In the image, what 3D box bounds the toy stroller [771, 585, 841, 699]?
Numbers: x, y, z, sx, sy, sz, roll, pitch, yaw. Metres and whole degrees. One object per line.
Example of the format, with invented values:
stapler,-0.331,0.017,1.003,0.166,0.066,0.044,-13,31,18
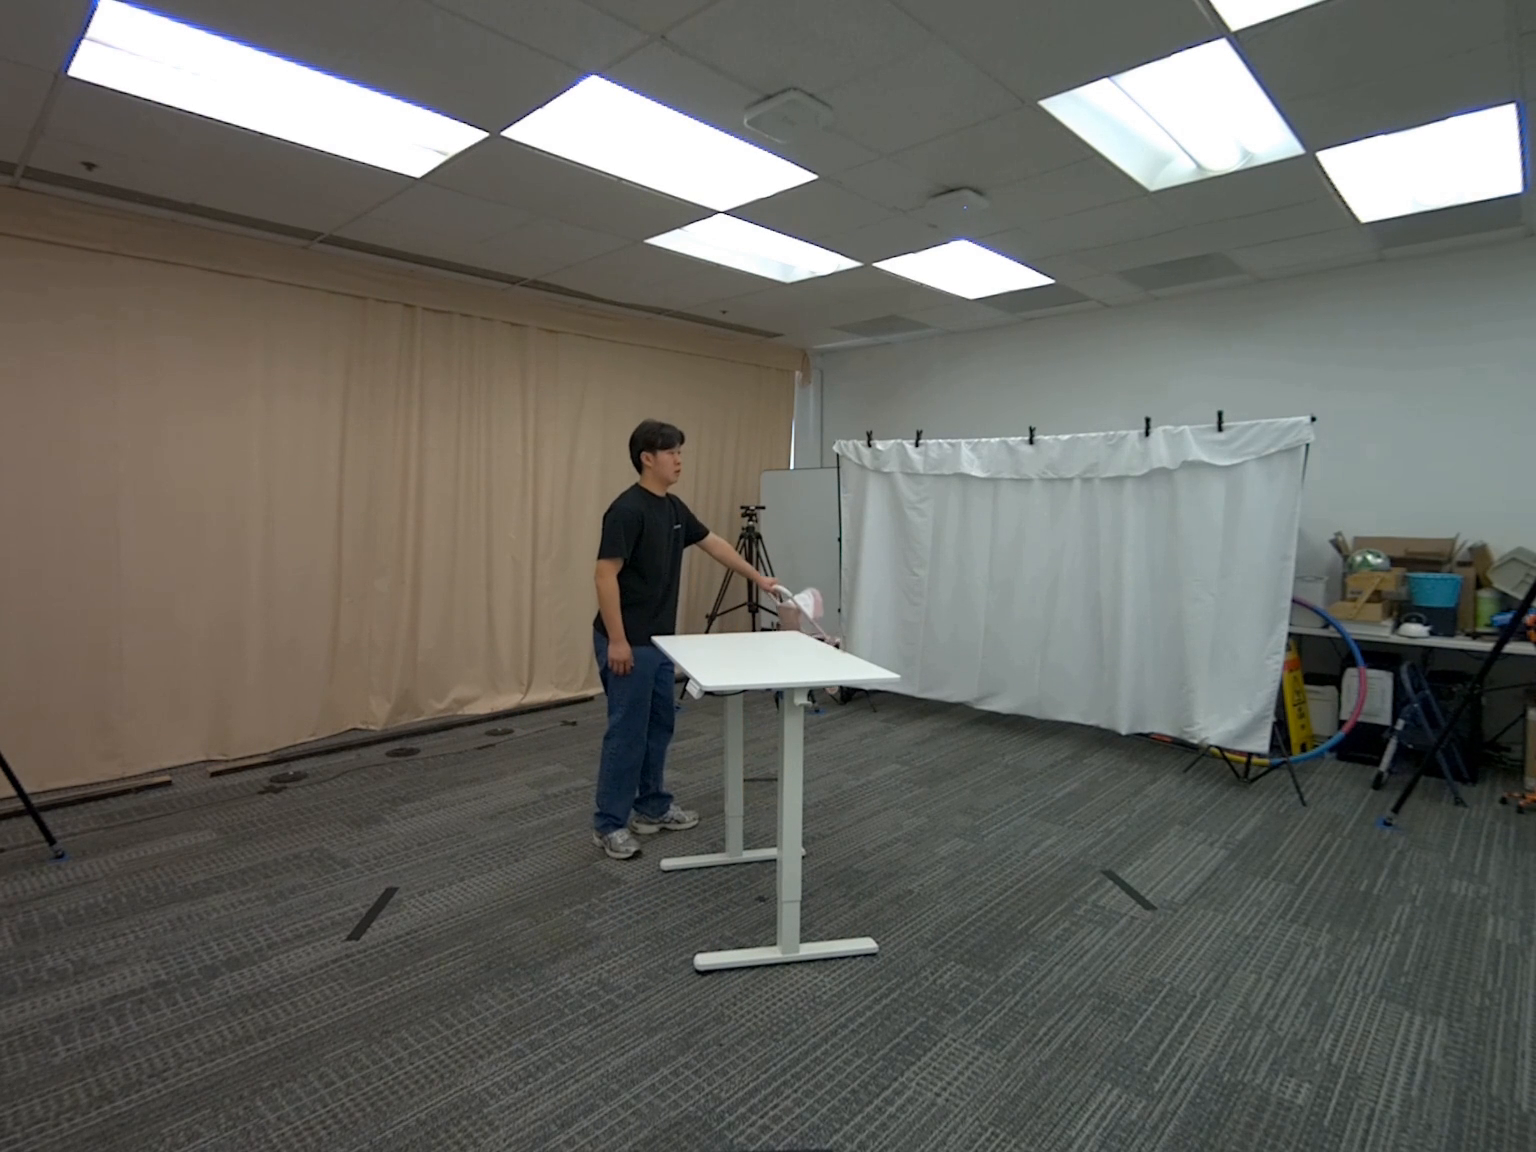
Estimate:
toy stroller,0.174,0.292,3.839,0.334,0.535,0.288,-4,1,-24
